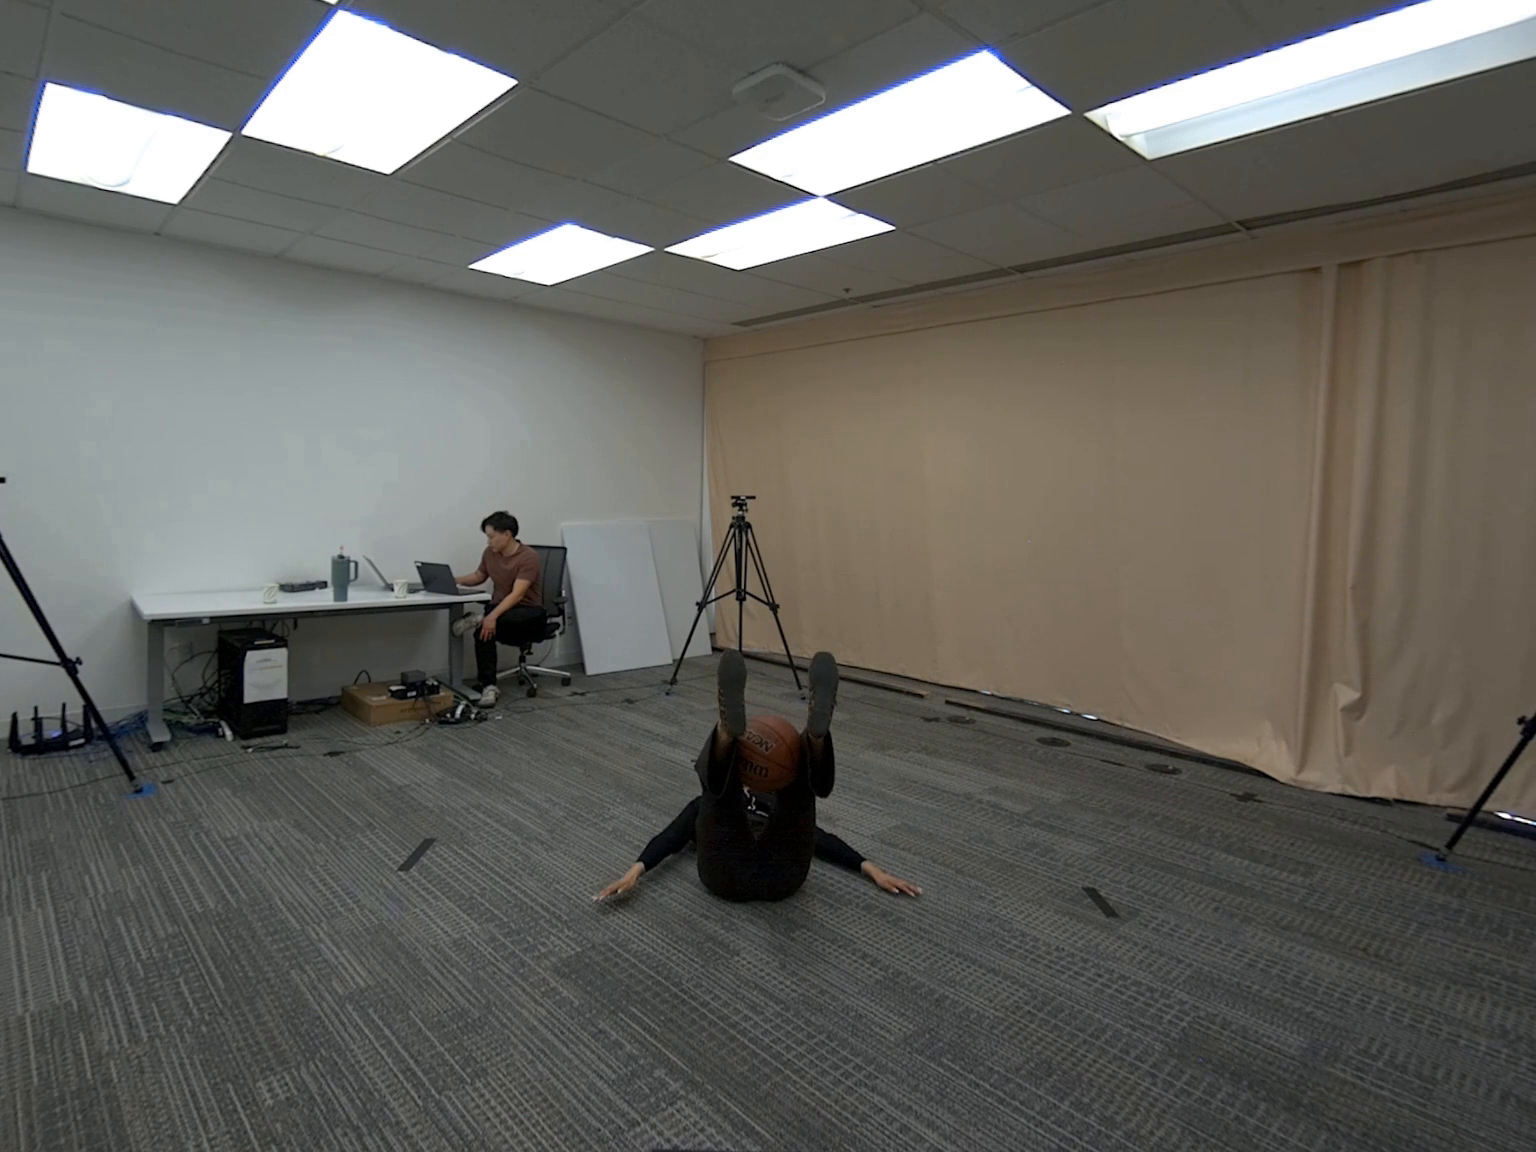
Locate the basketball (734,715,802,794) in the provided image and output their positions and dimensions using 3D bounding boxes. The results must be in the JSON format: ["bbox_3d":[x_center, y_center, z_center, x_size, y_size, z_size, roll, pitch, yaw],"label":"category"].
[{"bbox_3d":[-0.009,0.557,2.632,0.236,0.235,0.237,1,4,-1],"label":"basketball"}]
